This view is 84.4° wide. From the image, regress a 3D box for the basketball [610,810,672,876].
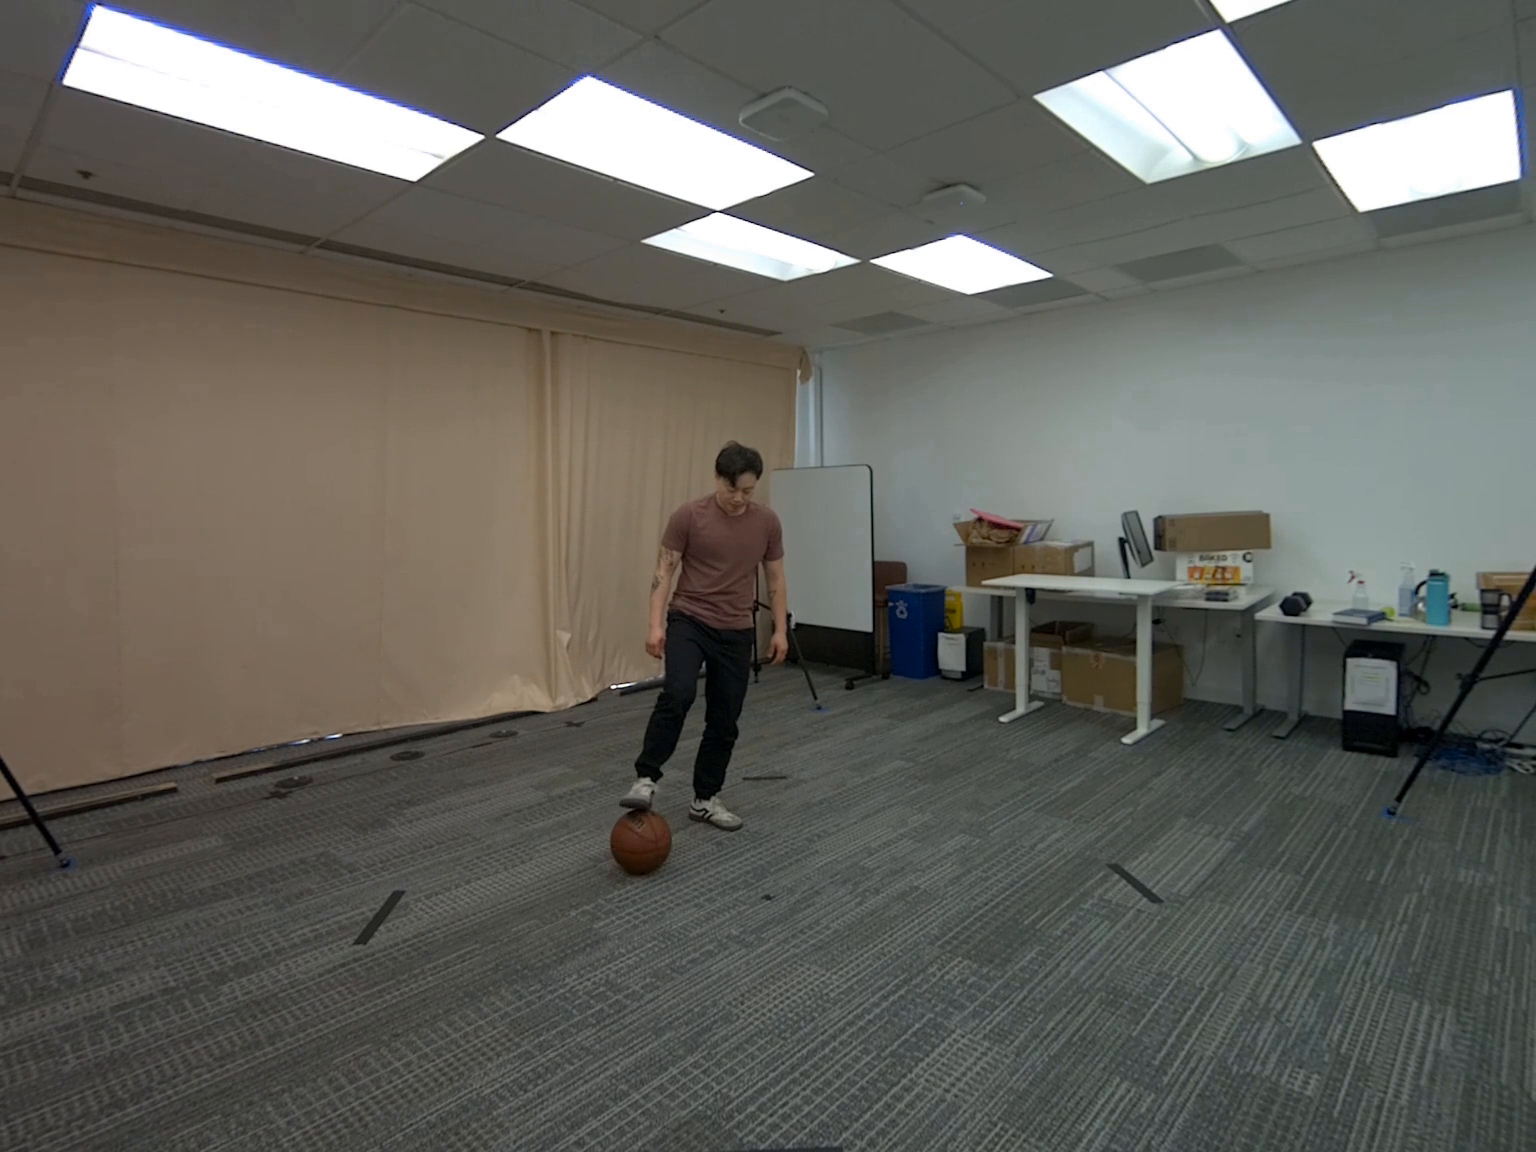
[{"bbox_3d":[-0.480,1.014,3.231,0.236,0.235,0.237,-1,4,-2],"label":"basketball"}]
